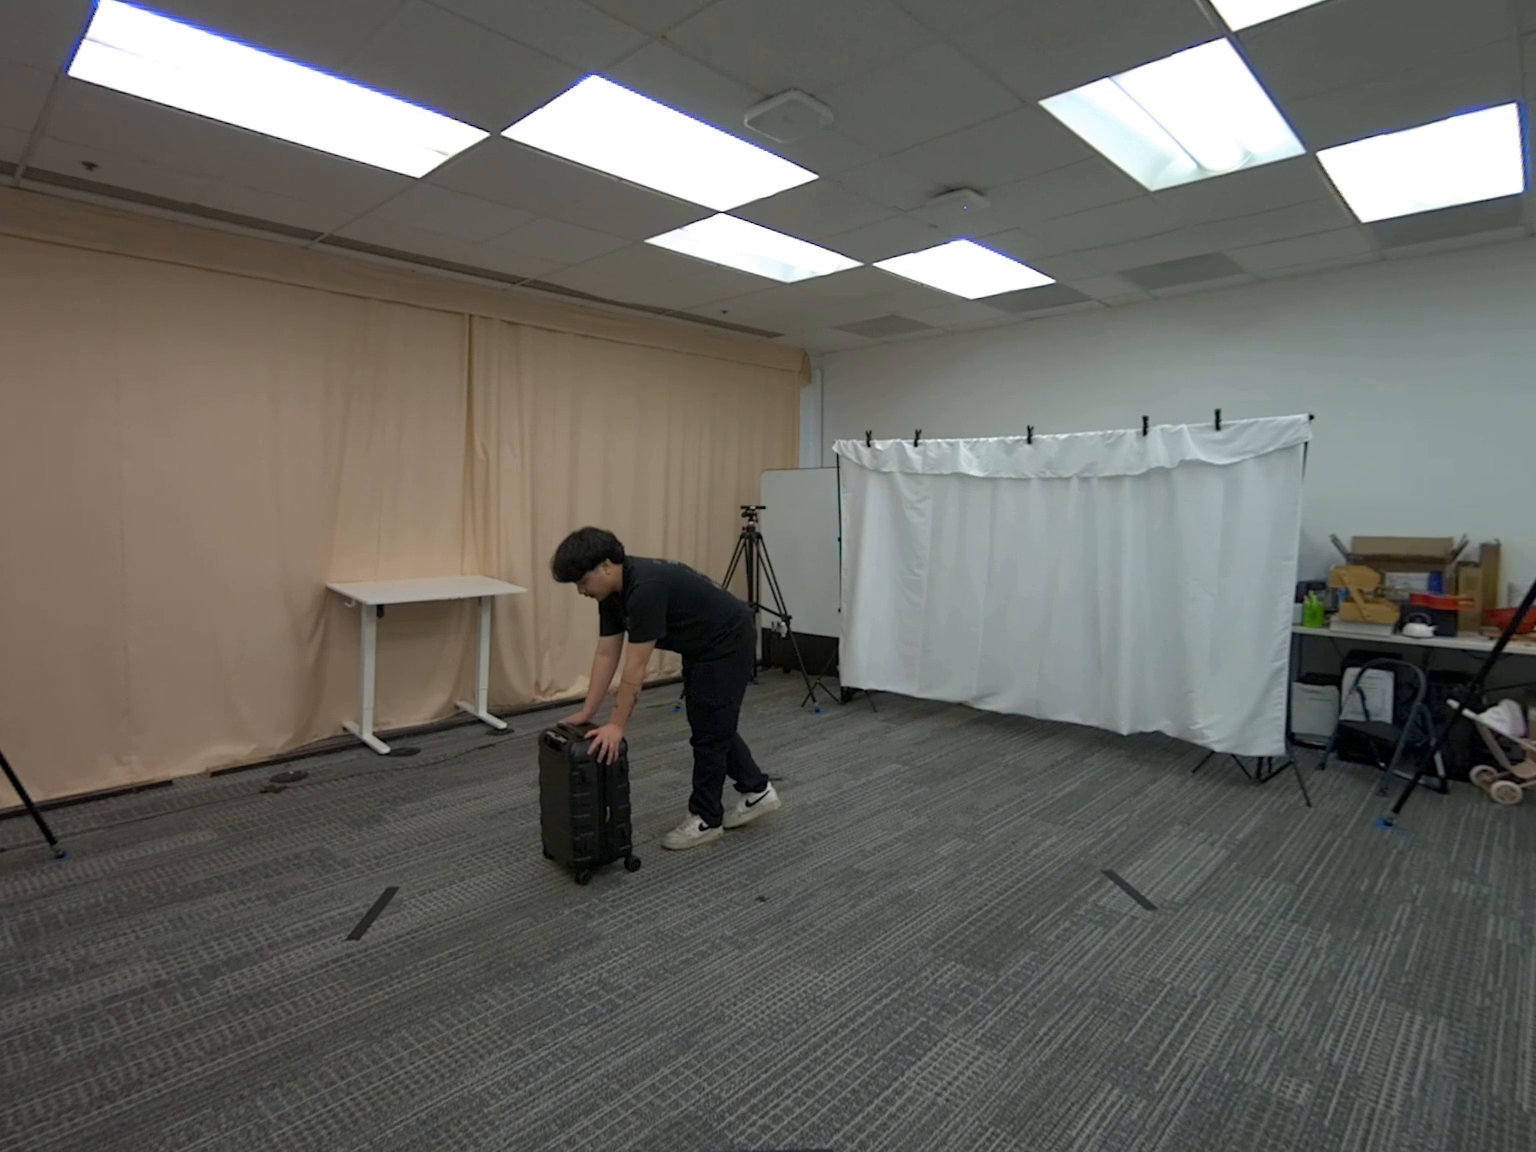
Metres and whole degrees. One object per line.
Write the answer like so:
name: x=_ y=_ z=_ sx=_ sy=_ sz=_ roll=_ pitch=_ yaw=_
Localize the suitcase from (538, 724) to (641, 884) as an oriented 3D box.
suitcase: x=-0.712 y=0.852 z=3.264 sx=0.241 sy=0.547 sz=0.388 roll=-5 pitch=7 yaw=-37
